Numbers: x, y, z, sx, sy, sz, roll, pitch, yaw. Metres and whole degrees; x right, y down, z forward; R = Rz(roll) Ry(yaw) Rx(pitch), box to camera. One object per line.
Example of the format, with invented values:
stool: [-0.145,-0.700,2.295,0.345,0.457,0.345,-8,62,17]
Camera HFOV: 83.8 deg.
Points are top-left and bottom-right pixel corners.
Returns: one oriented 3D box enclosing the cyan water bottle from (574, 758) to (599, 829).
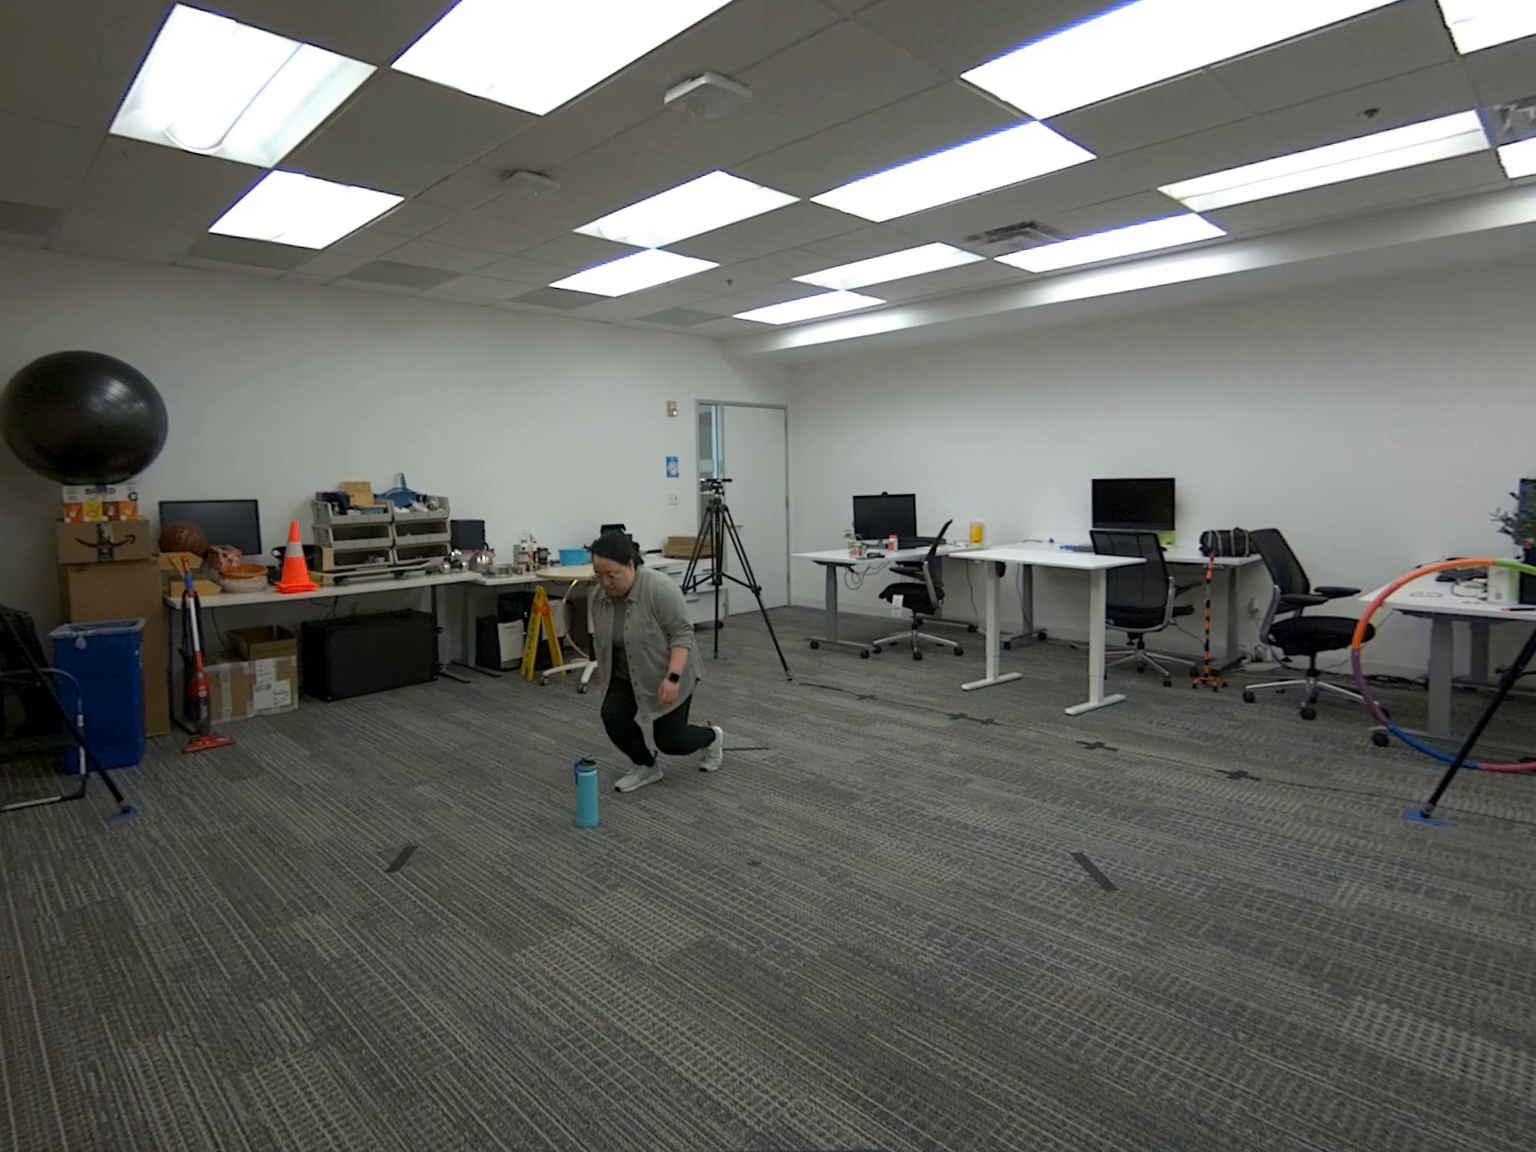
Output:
cyan water bottle: [-0.748,0.880,3.495,0.092,0.283,0.092,-3,0,-2]
